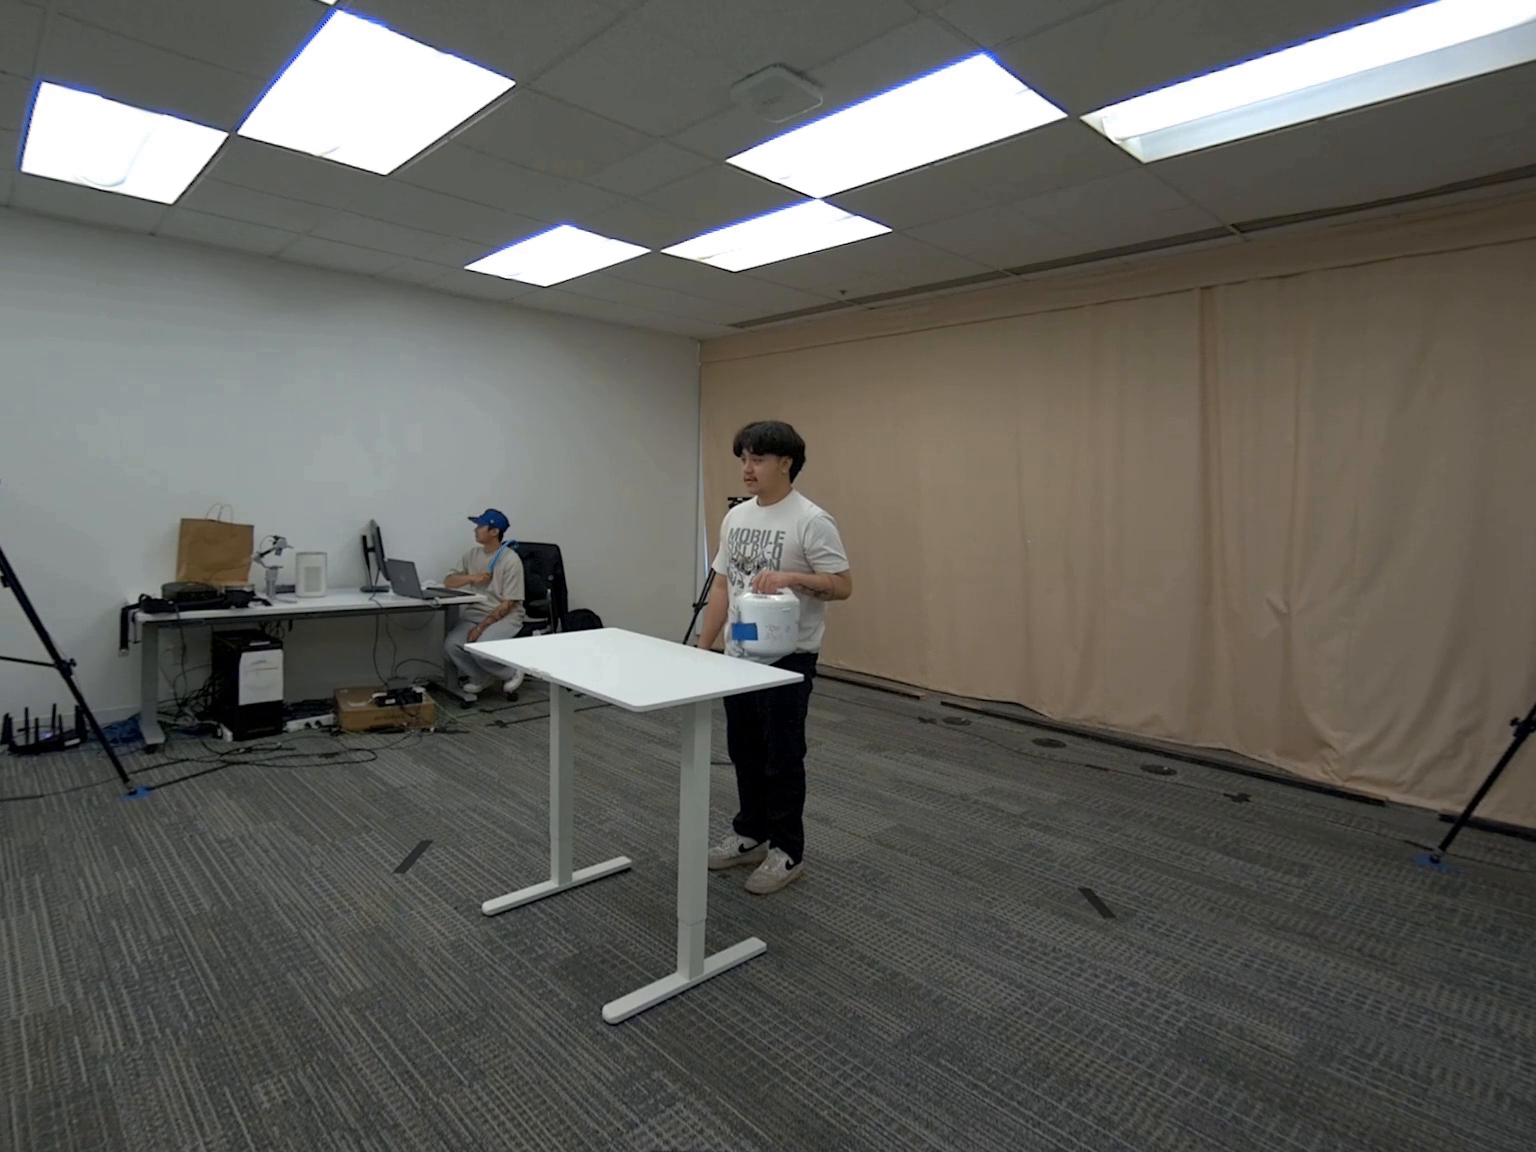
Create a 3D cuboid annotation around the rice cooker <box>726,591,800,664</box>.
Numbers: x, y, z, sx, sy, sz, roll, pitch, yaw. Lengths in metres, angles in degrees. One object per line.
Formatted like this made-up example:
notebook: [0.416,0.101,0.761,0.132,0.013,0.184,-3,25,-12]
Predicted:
rice cooker: [-0.014,0.145,2.826,0.224,0.232,0.215,4,7,18]
